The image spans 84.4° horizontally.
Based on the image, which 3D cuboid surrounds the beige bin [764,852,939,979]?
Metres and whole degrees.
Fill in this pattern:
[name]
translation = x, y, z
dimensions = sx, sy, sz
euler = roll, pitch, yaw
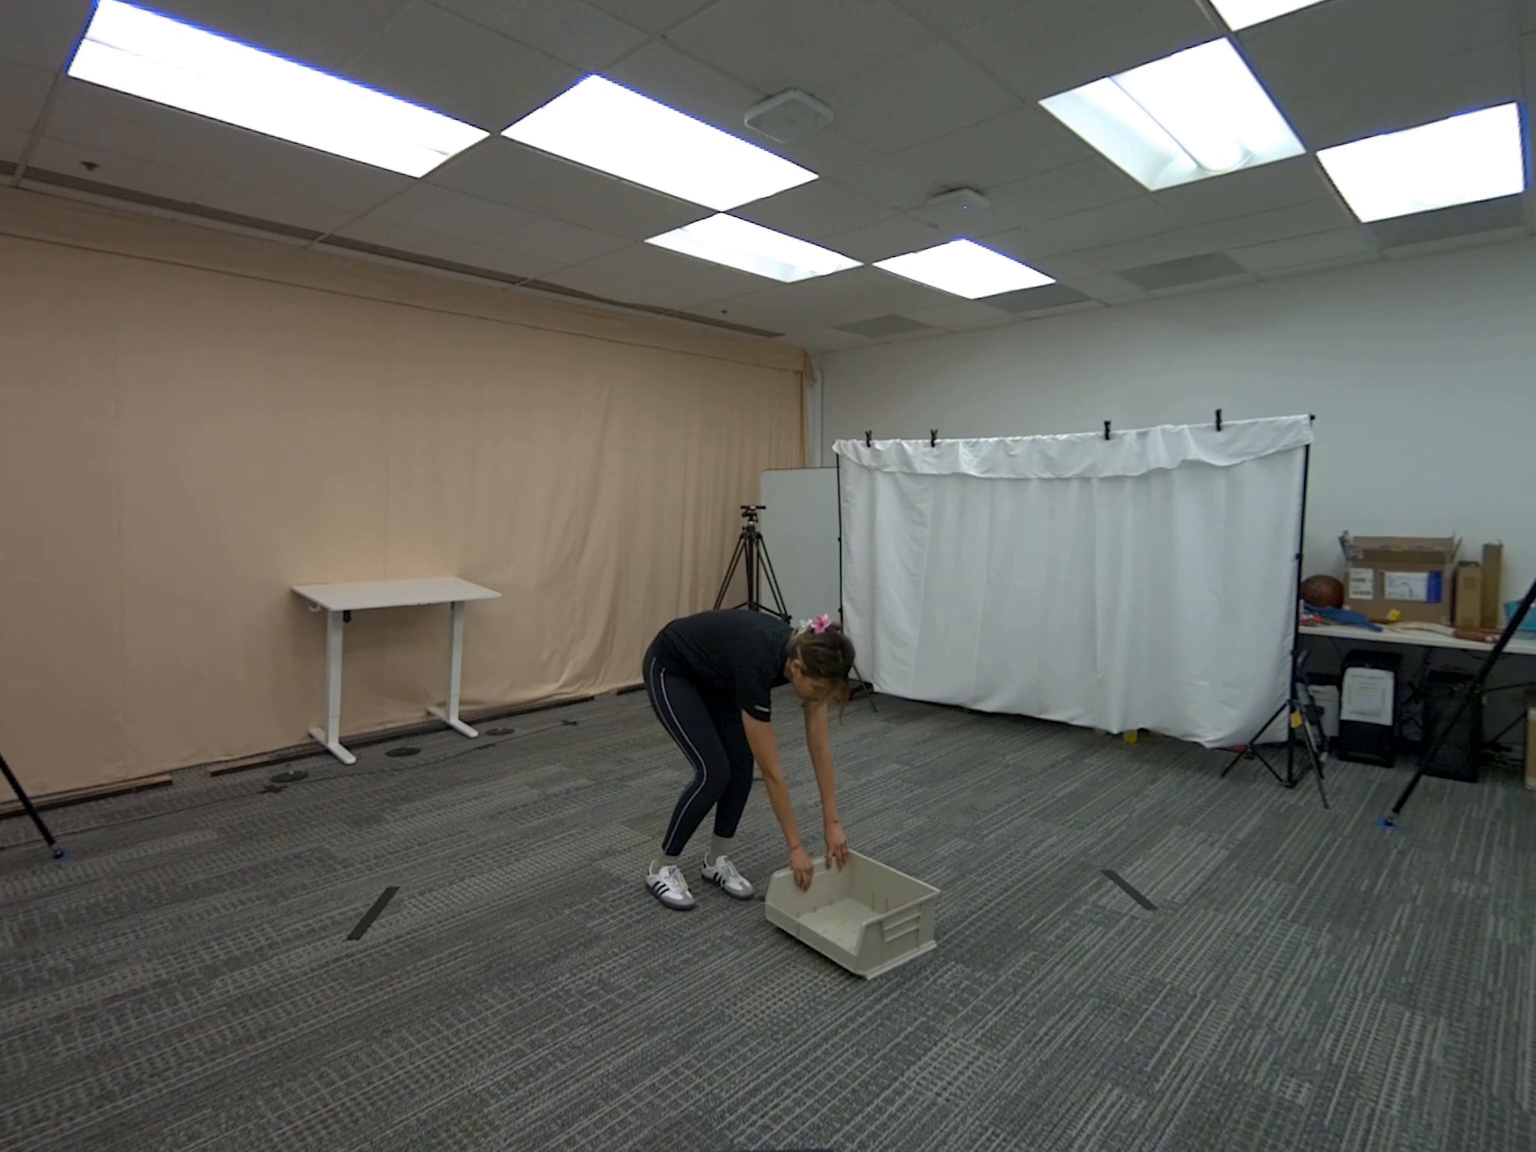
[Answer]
[beige bin]
translation = 0.272, 1.077, 2.707
dimensions = 0.366, 0.189, 0.436
euler = -2, 4, -38
